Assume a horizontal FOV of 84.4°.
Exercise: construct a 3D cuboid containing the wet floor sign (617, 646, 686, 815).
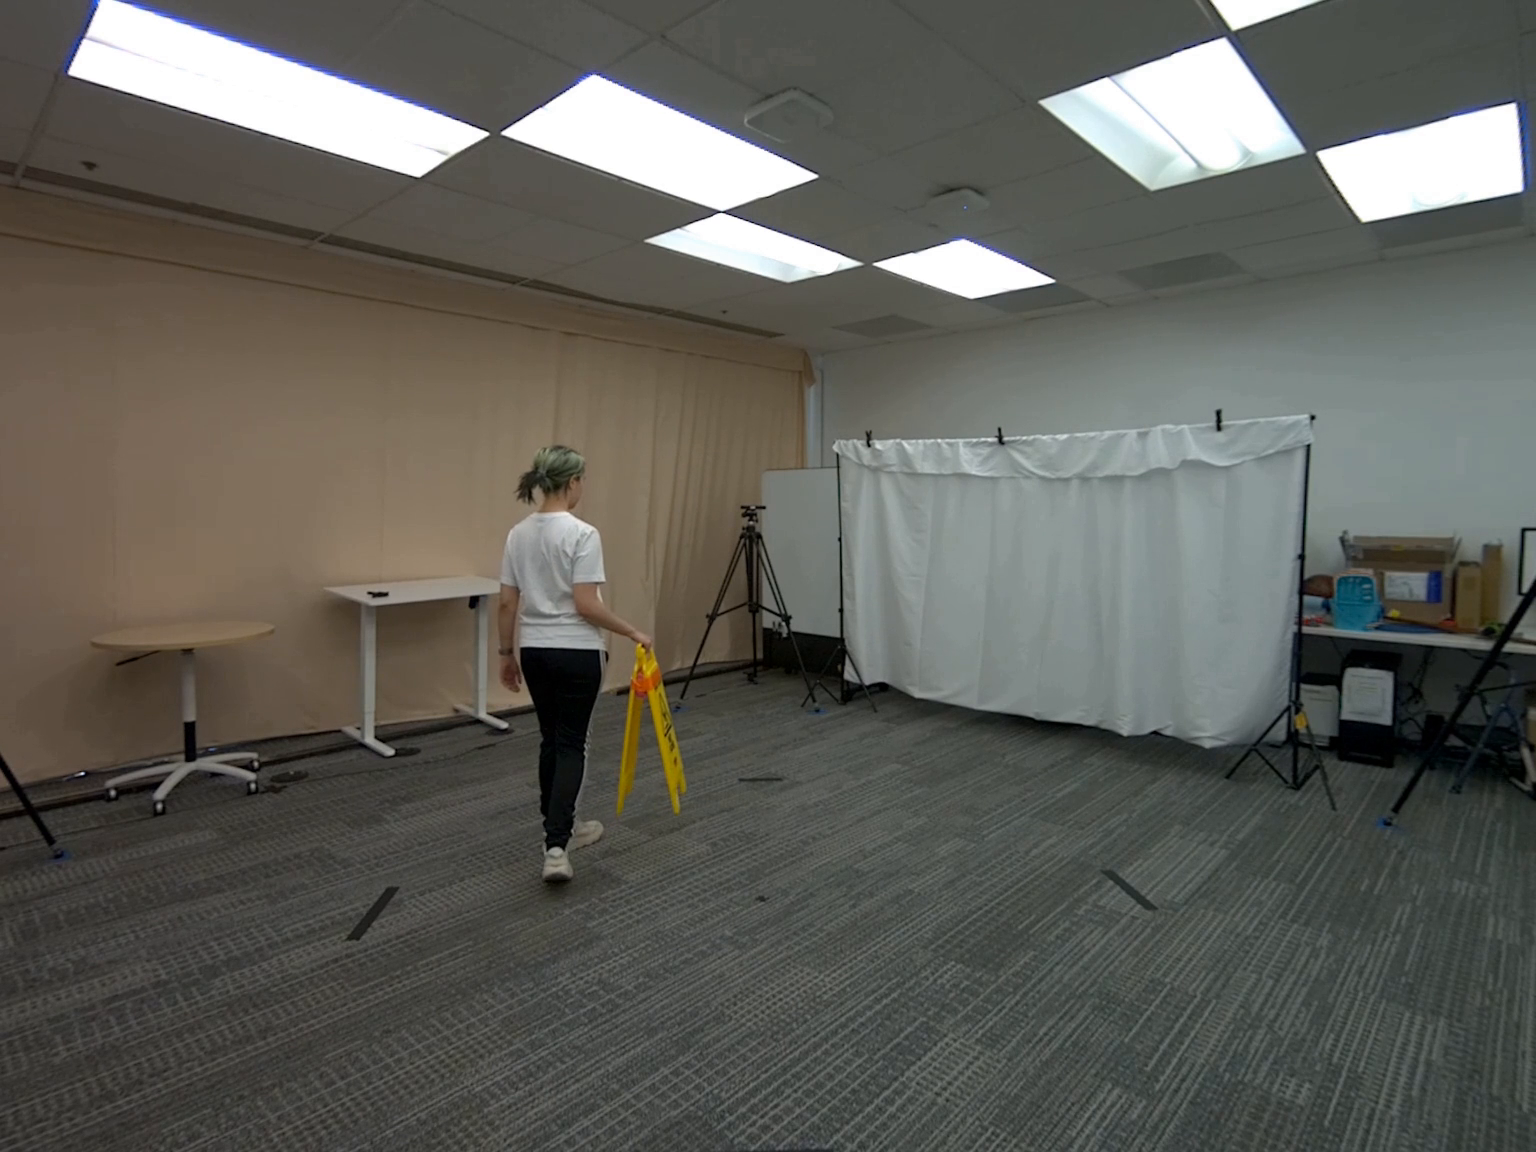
[{"bbox_3d":[-0.478,0.584,3.341,0.291,0.644,0.282,-2,5,2],"label":"wet floor sign"}]
